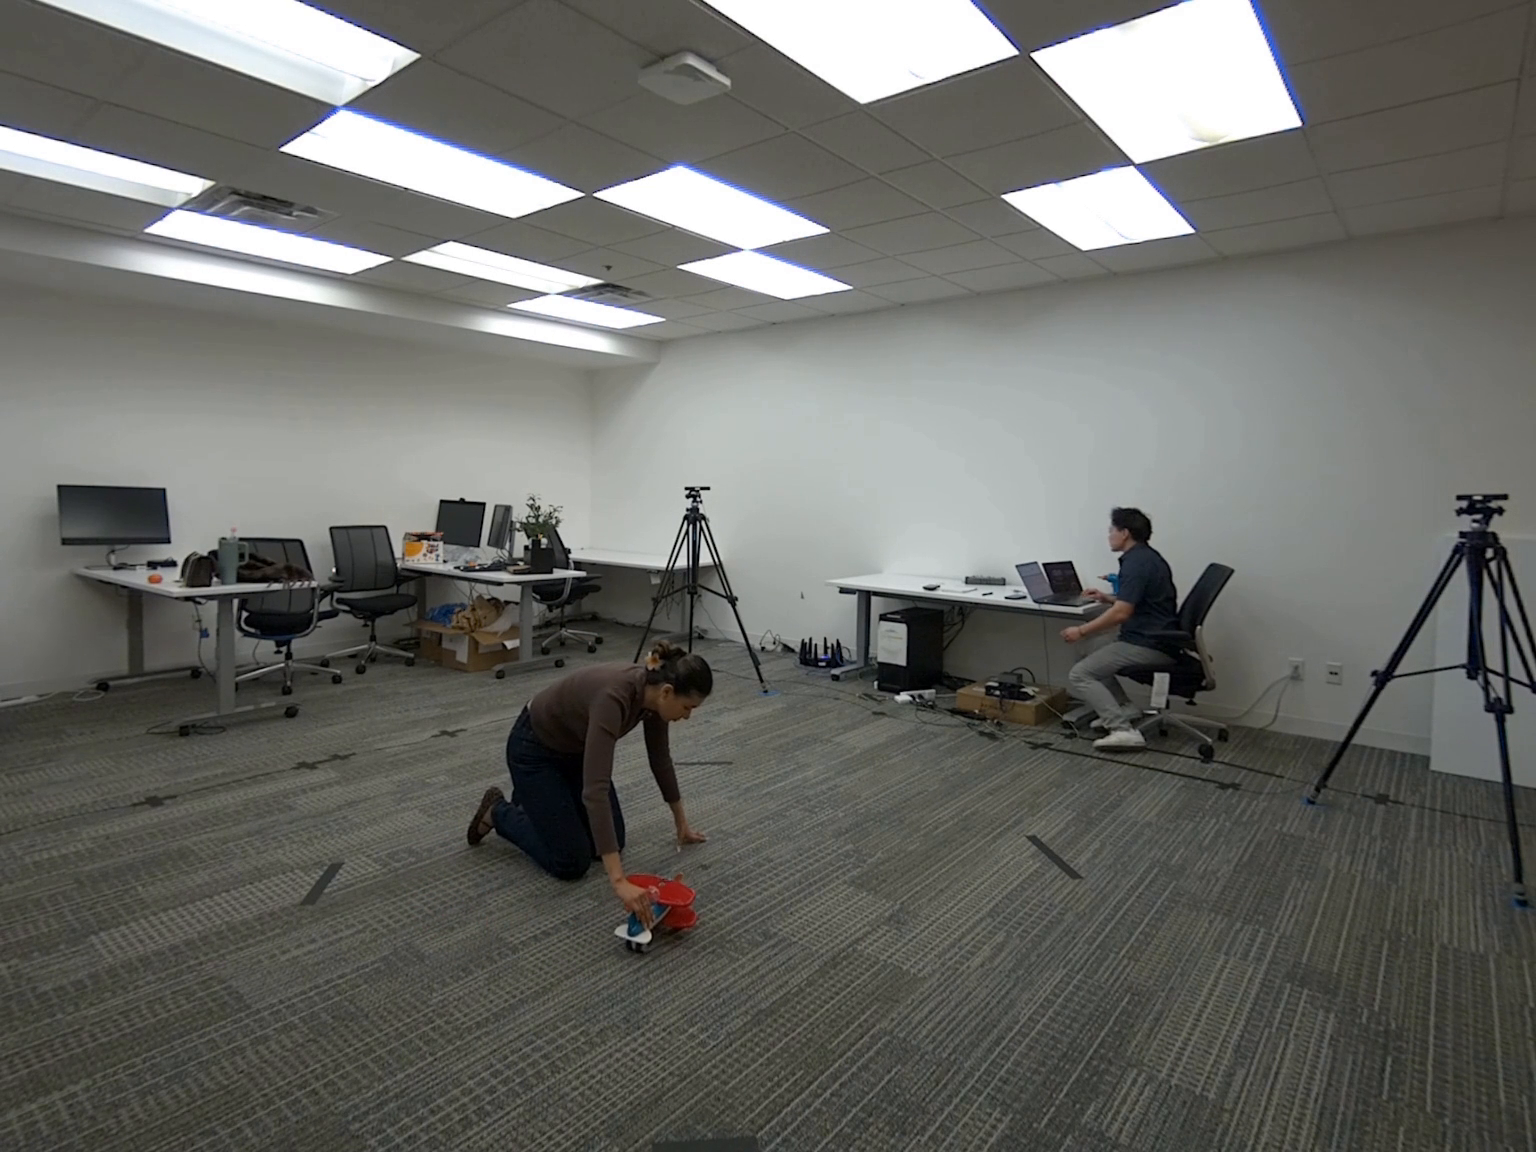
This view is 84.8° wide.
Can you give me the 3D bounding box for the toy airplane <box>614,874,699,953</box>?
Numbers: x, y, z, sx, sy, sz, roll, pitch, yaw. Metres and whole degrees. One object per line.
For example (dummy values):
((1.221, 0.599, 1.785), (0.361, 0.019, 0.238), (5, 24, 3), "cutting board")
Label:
((-0.344, 1.039, 2.612), (0.251, 0.156, 0.261), (0, 6, -2), "toy airplane")
